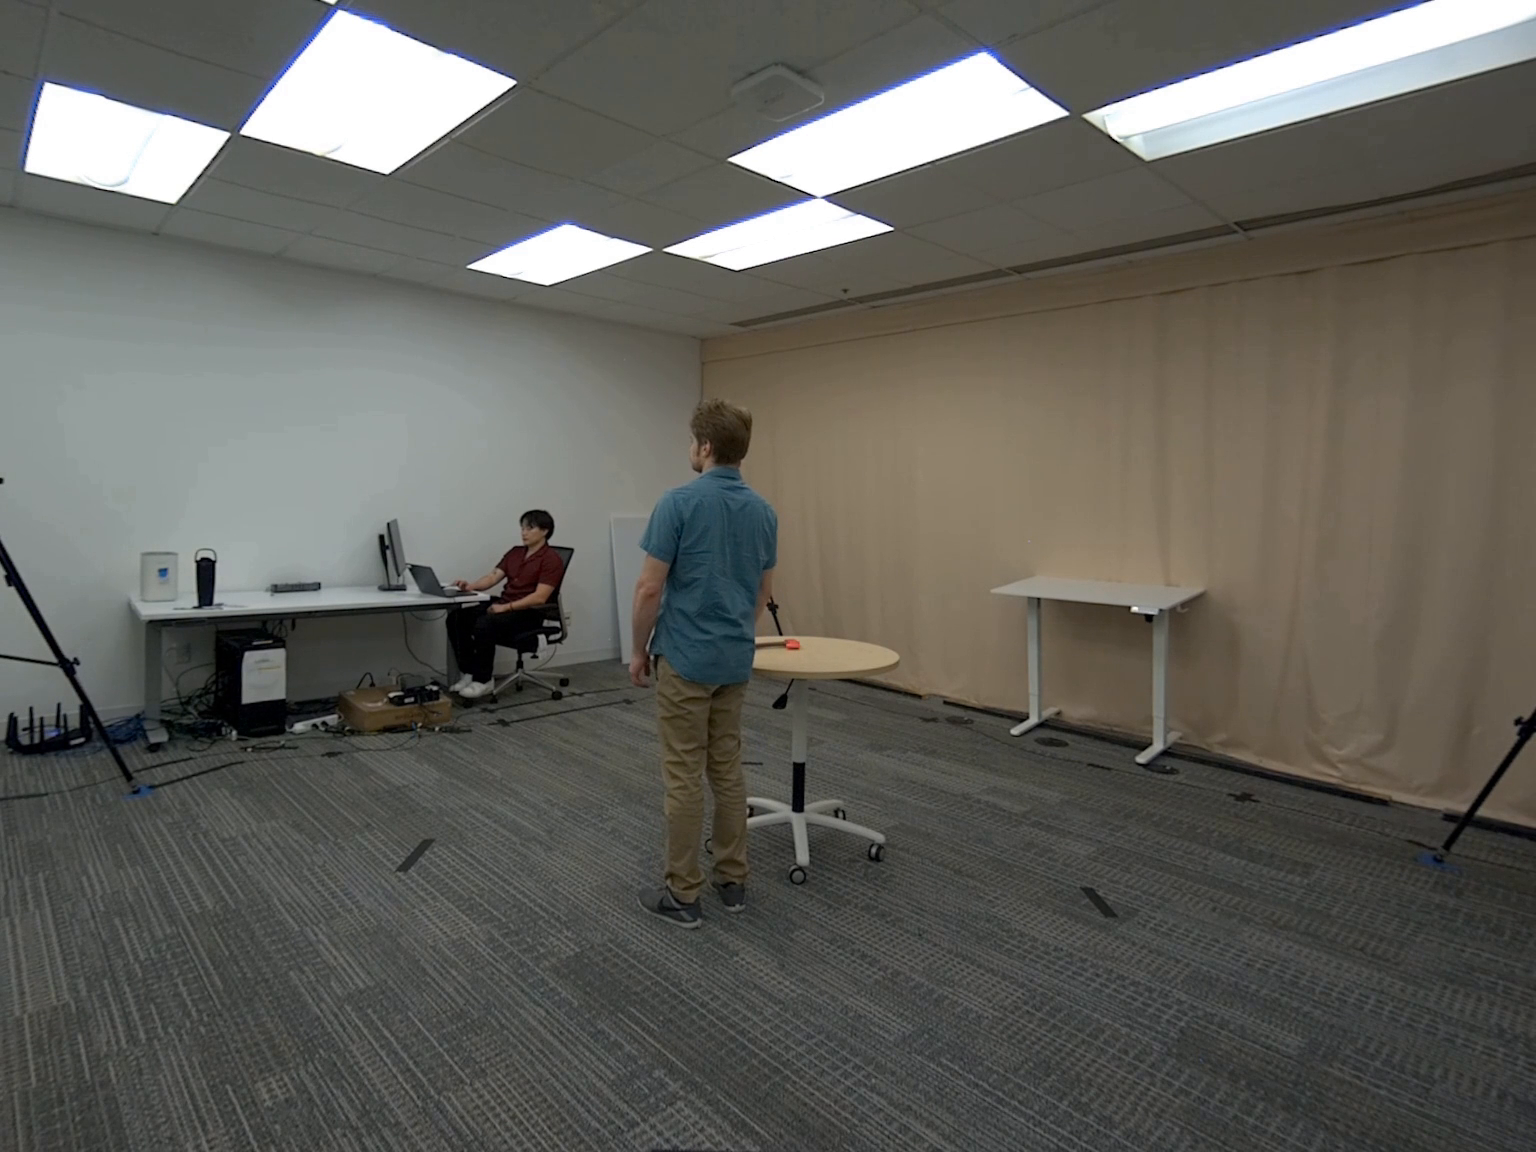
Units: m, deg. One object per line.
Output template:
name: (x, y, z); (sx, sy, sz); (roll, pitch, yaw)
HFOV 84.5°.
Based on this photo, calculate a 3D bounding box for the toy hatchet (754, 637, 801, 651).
toy hatchet: (0.019, 0.292, 3.402); (0.264, 0.029, 0.135); (-6, 13, -40)
